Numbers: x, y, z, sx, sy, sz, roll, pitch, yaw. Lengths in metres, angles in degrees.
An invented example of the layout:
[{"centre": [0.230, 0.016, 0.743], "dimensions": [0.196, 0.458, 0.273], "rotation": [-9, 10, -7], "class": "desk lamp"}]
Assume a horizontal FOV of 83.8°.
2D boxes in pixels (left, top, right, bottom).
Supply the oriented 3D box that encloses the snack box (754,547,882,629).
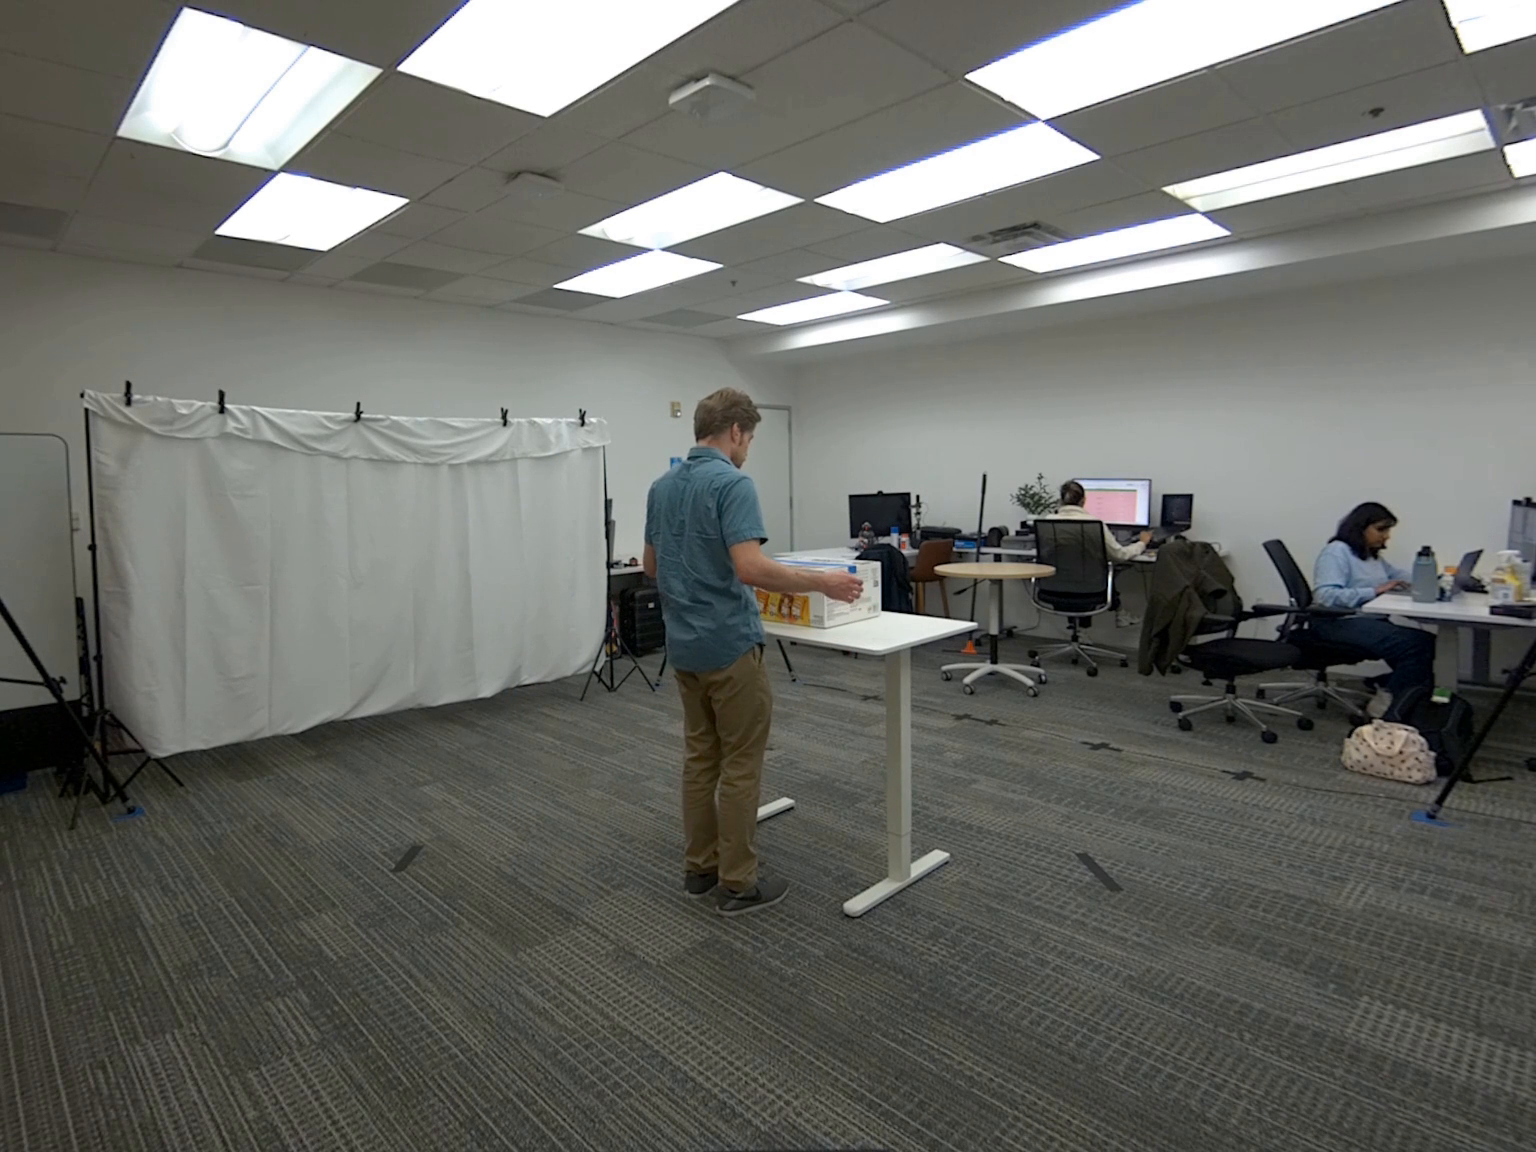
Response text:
[{"centre": [0.156, 0.051, 3.174], "dimensions": [0.418, 0.204, 0.332], "rotation": [5, 9, 43], "class": "snack box"}]
